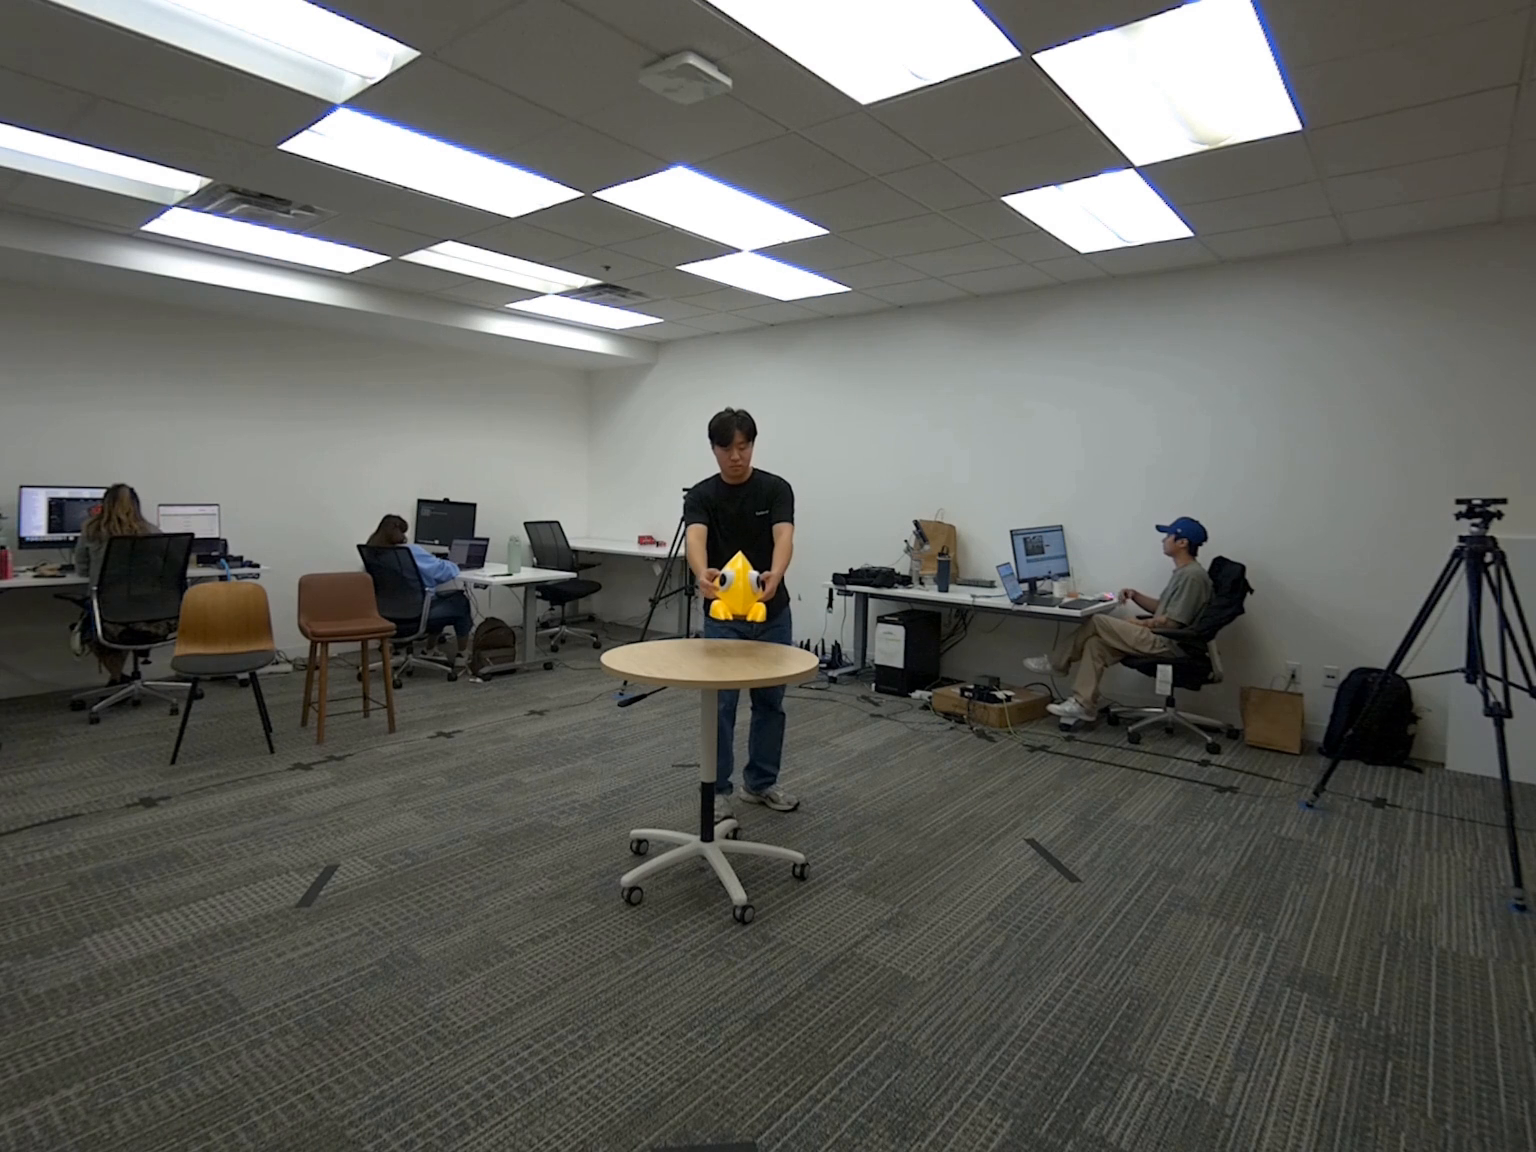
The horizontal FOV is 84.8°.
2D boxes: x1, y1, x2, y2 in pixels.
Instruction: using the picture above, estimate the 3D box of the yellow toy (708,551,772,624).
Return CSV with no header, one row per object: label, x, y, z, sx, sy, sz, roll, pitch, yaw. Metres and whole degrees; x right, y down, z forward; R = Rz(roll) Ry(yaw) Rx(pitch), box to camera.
yellow toy,-0.101,0.024,3.043,0.203,0.230,0.195,4,5,-8
